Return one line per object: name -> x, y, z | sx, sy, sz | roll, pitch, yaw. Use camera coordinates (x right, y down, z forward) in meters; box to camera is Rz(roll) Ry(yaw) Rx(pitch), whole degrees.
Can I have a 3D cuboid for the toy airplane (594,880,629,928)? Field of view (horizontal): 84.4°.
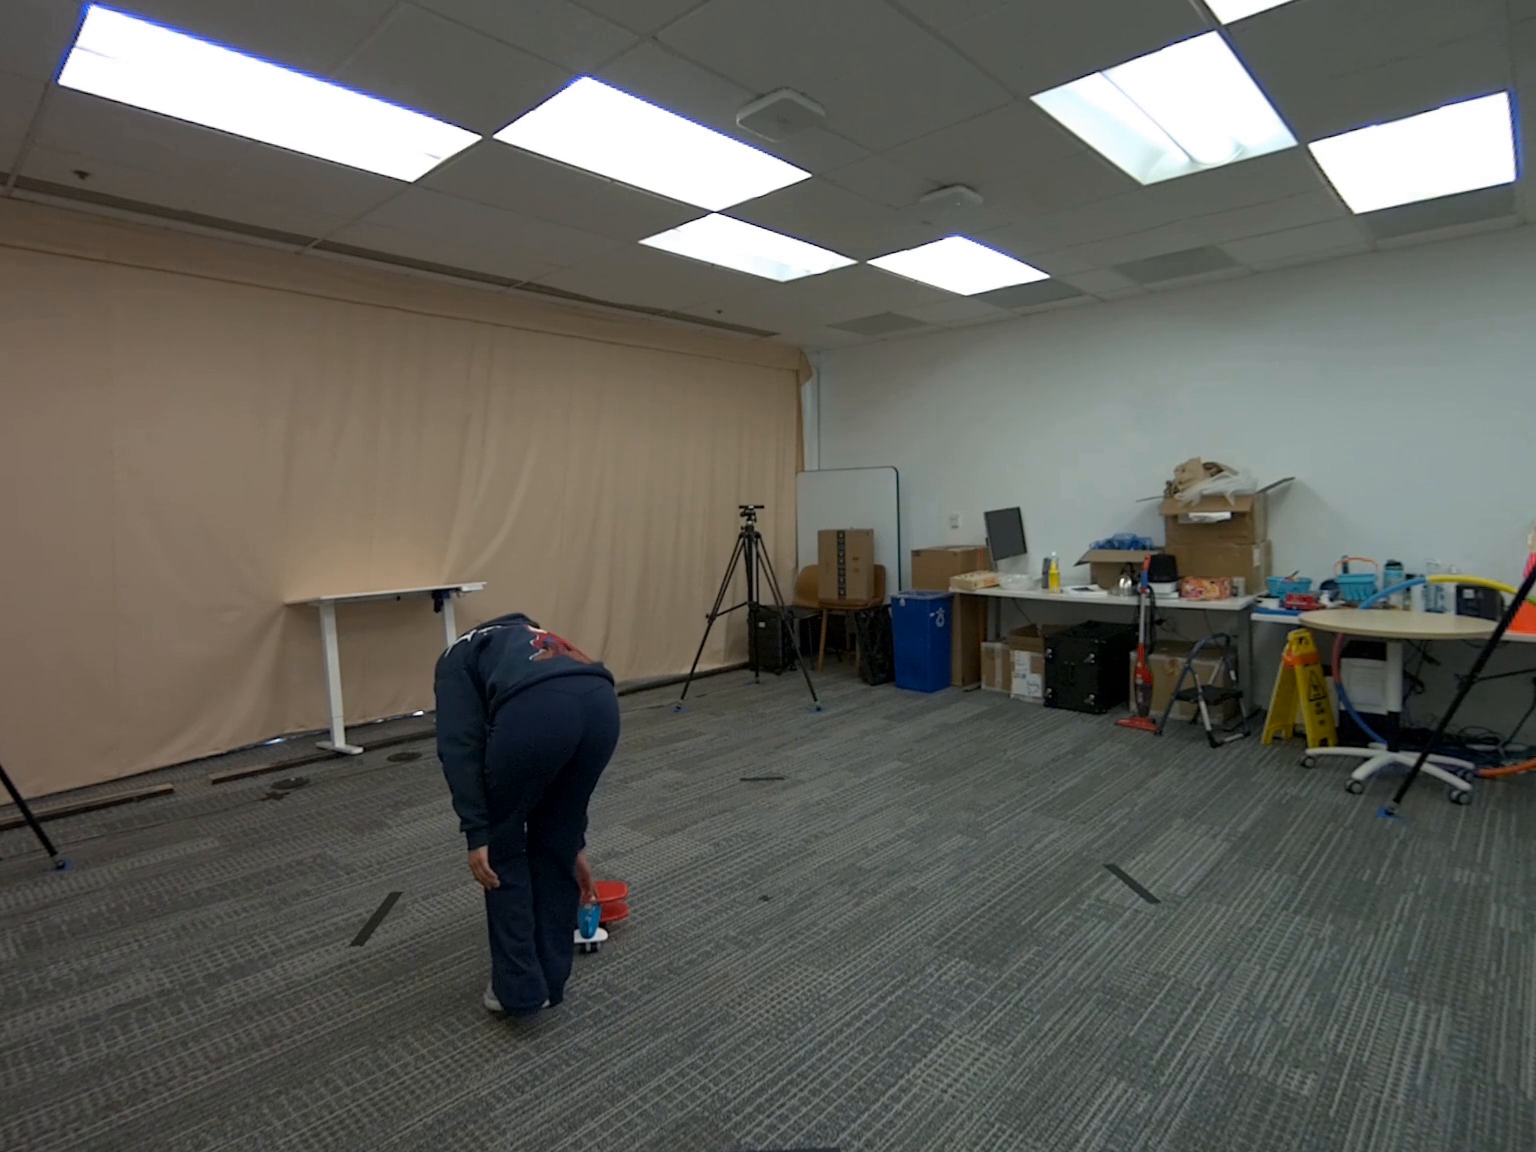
toy airplane -> -0.566, 1.103, 2.734 | 0.244, 0.156, 0.267 | -4, 4, -35
